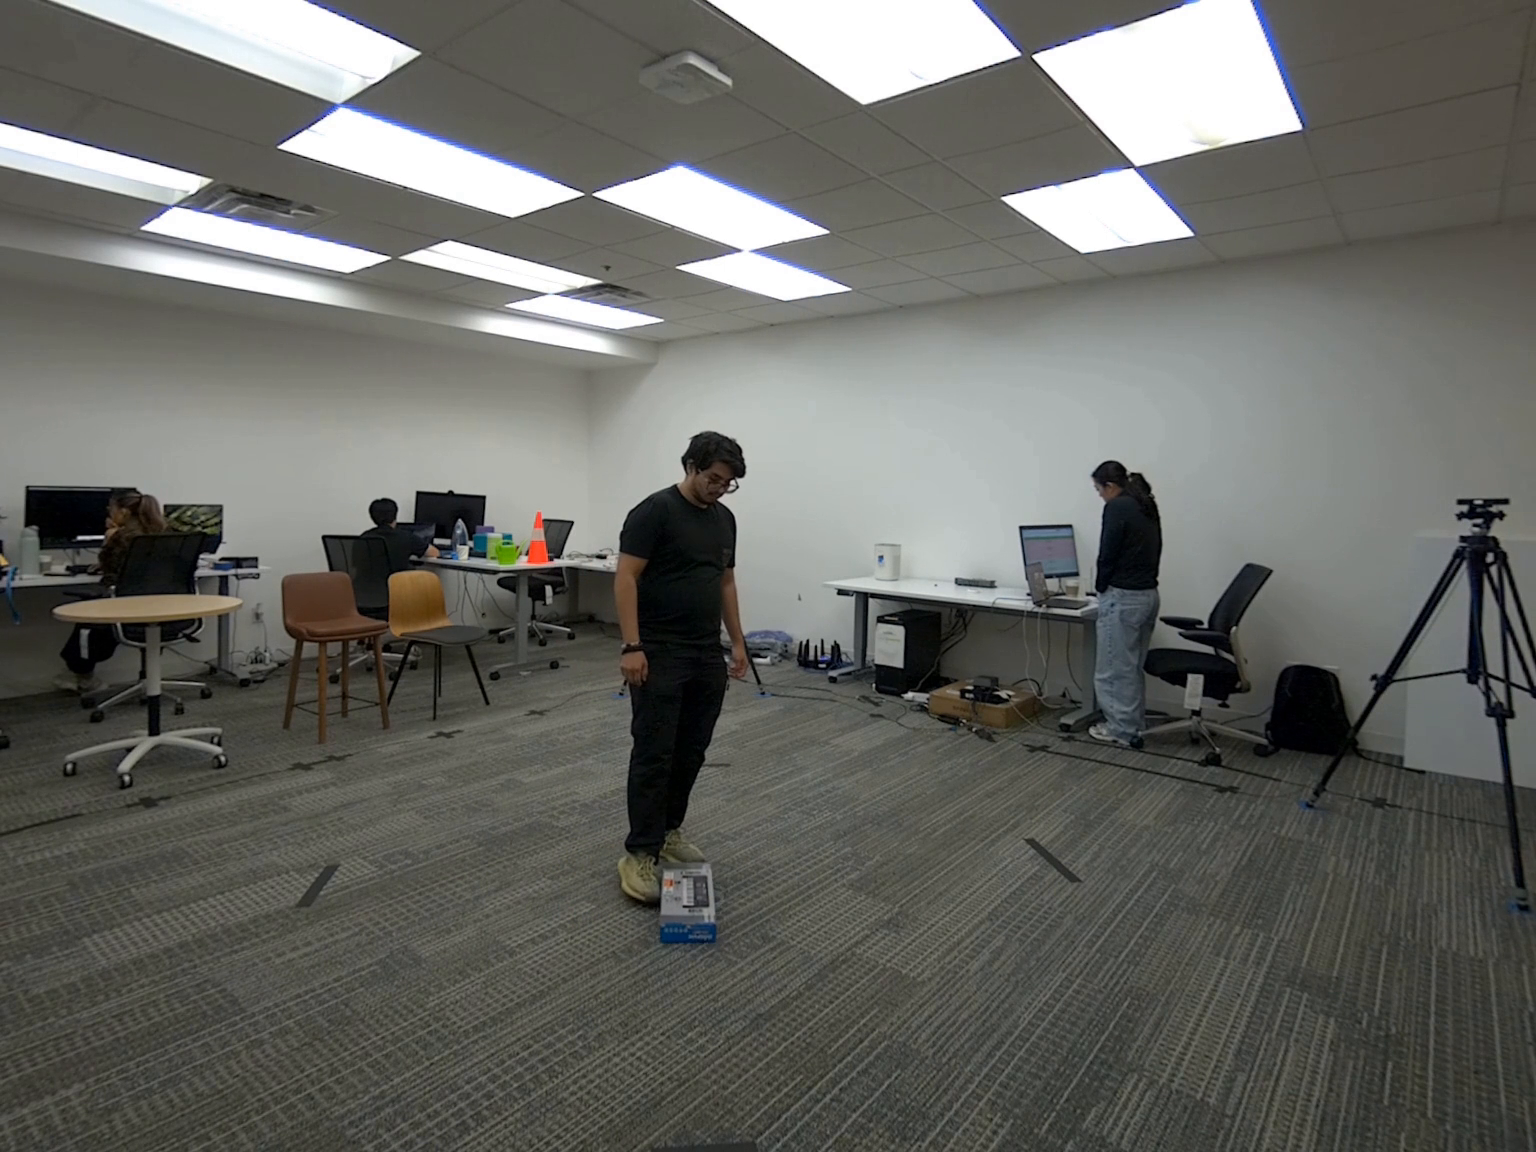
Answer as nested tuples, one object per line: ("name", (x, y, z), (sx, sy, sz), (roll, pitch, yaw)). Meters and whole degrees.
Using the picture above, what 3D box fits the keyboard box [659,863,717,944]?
("keyboard box", (-0.274, 1.065, 2.814), (0.175, 0.059, 0.440), (0, 5, -5))
